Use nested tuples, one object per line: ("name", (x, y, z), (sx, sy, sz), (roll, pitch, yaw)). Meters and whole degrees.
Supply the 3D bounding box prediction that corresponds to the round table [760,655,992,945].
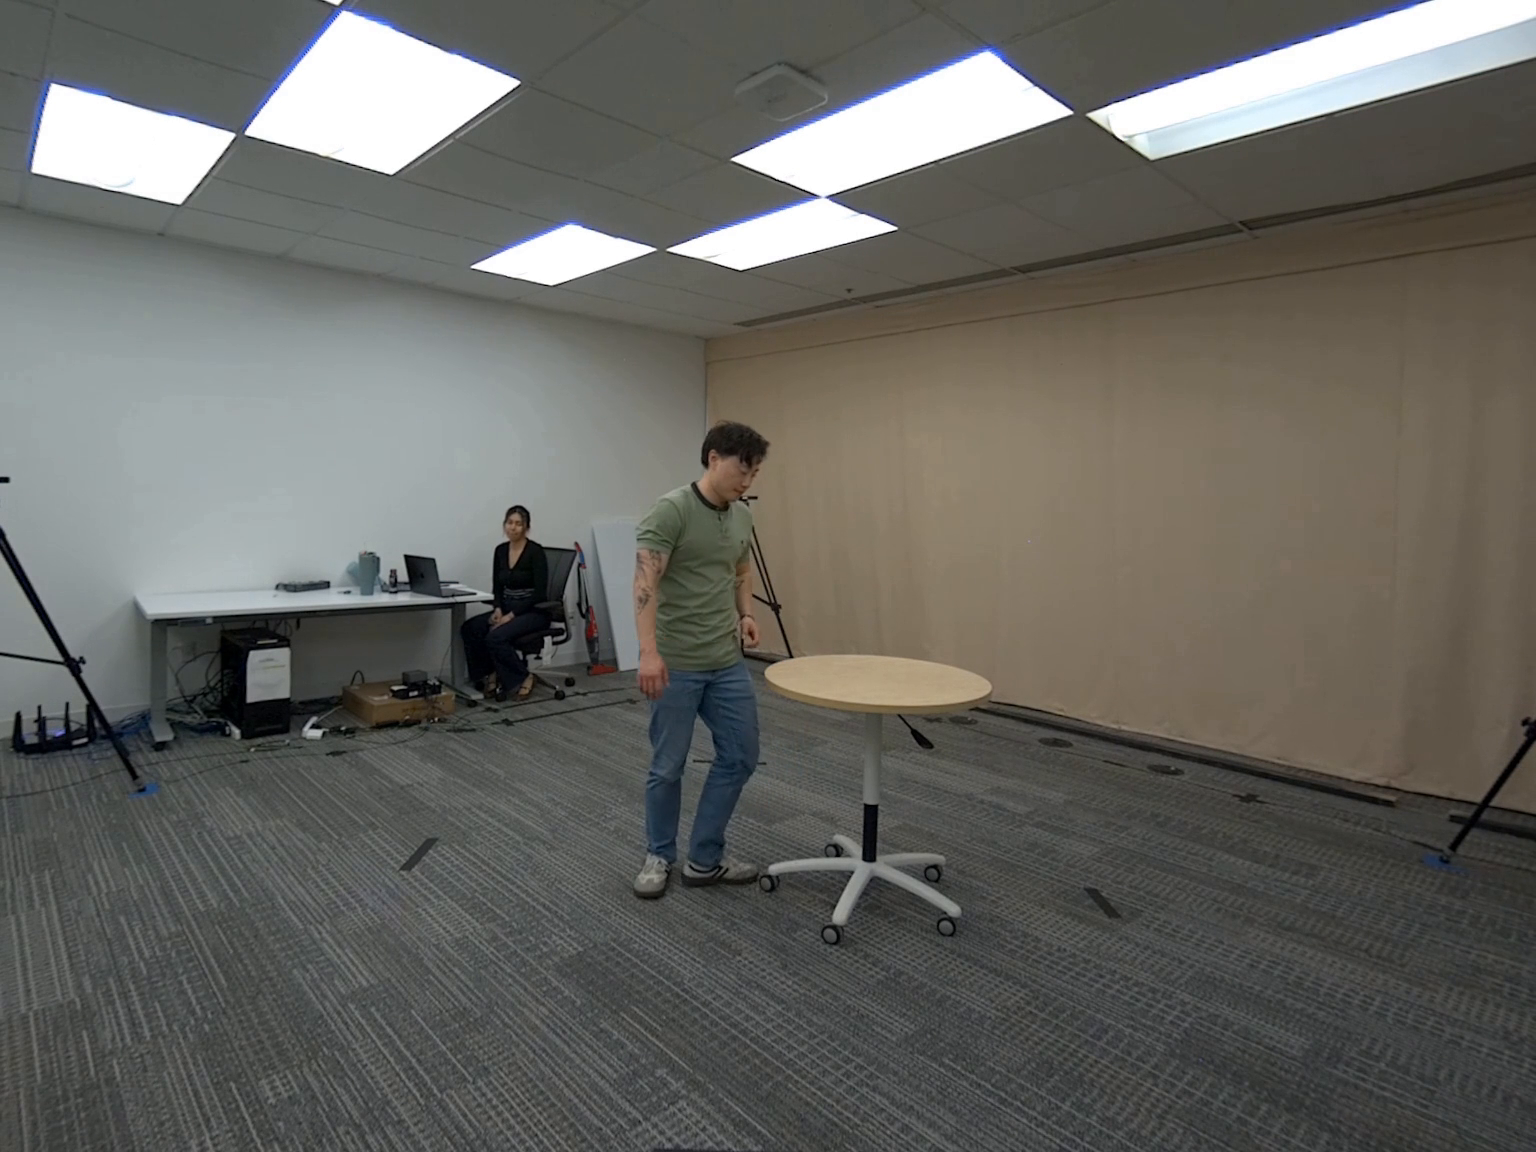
("round table", (0.354, 0.742, 2.913), (0.763, 0.791, 0.767), (1, 5, -1))
